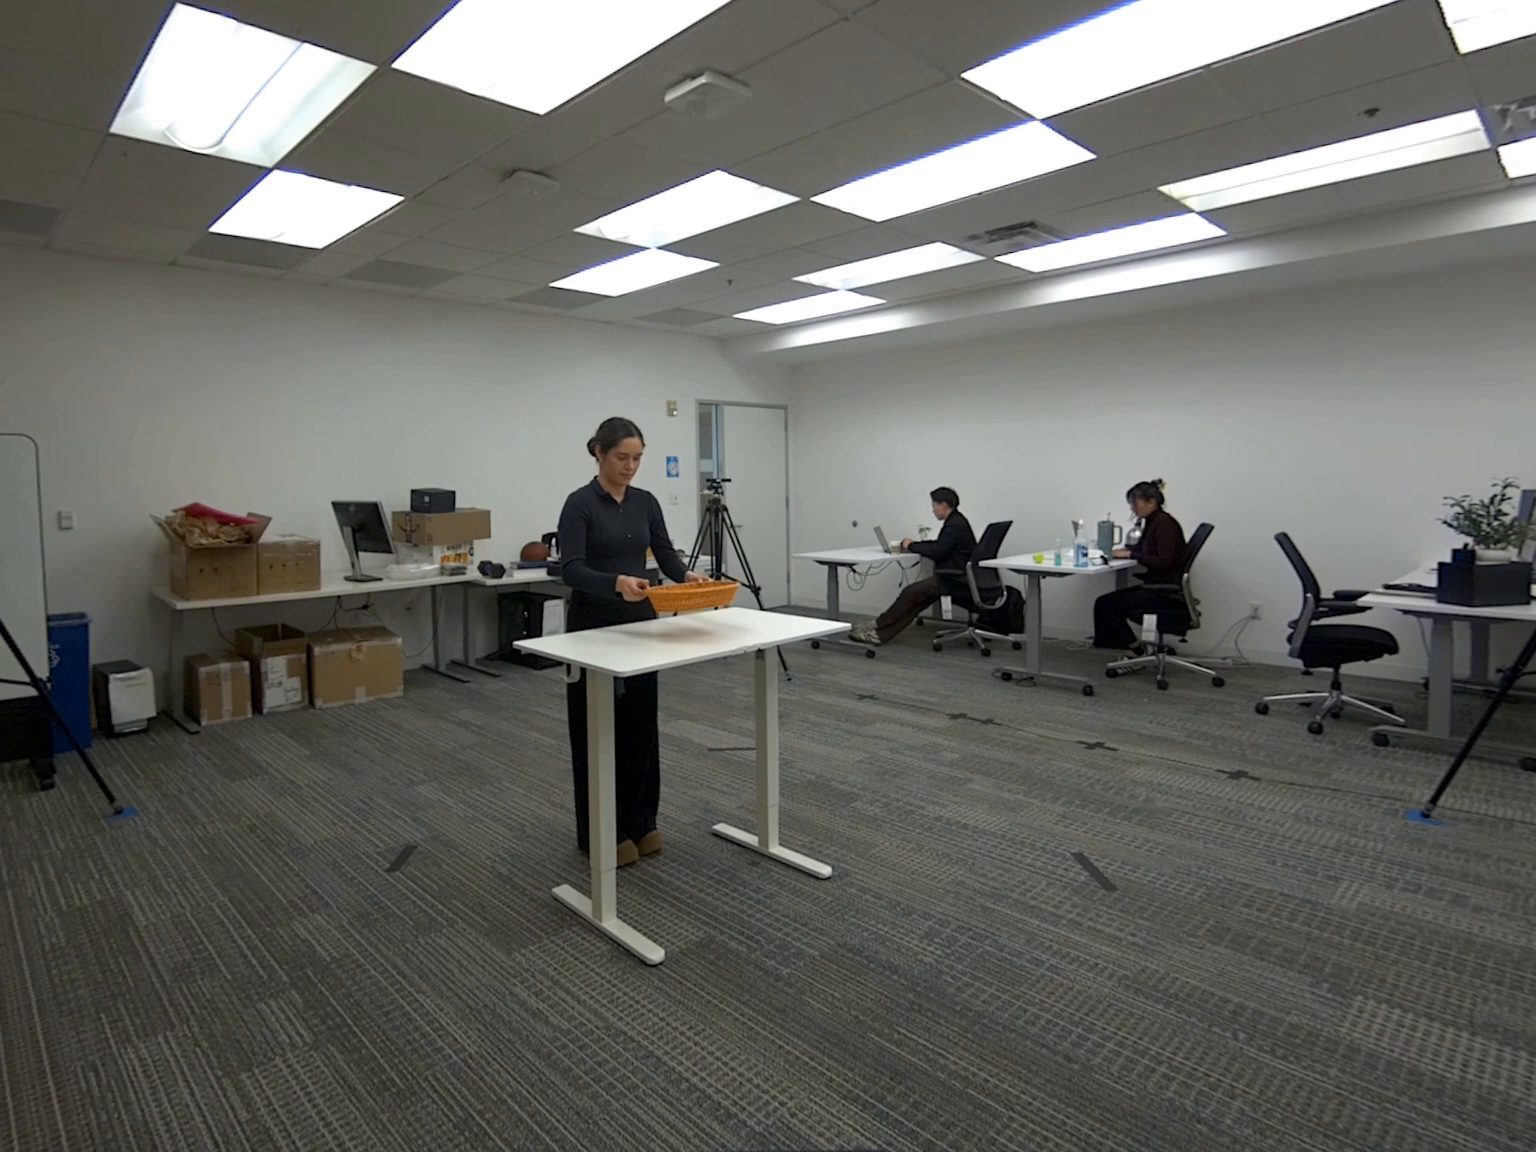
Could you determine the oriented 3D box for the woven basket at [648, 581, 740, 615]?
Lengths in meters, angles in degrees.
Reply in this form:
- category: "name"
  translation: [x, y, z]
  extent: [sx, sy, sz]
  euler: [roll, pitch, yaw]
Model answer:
- category: "woven basket"
  translation: [-0.276, 0.071, 2.869]
  extent: [0.342, 0.073, 0.259]
  euler: [-5, 6, -31]
